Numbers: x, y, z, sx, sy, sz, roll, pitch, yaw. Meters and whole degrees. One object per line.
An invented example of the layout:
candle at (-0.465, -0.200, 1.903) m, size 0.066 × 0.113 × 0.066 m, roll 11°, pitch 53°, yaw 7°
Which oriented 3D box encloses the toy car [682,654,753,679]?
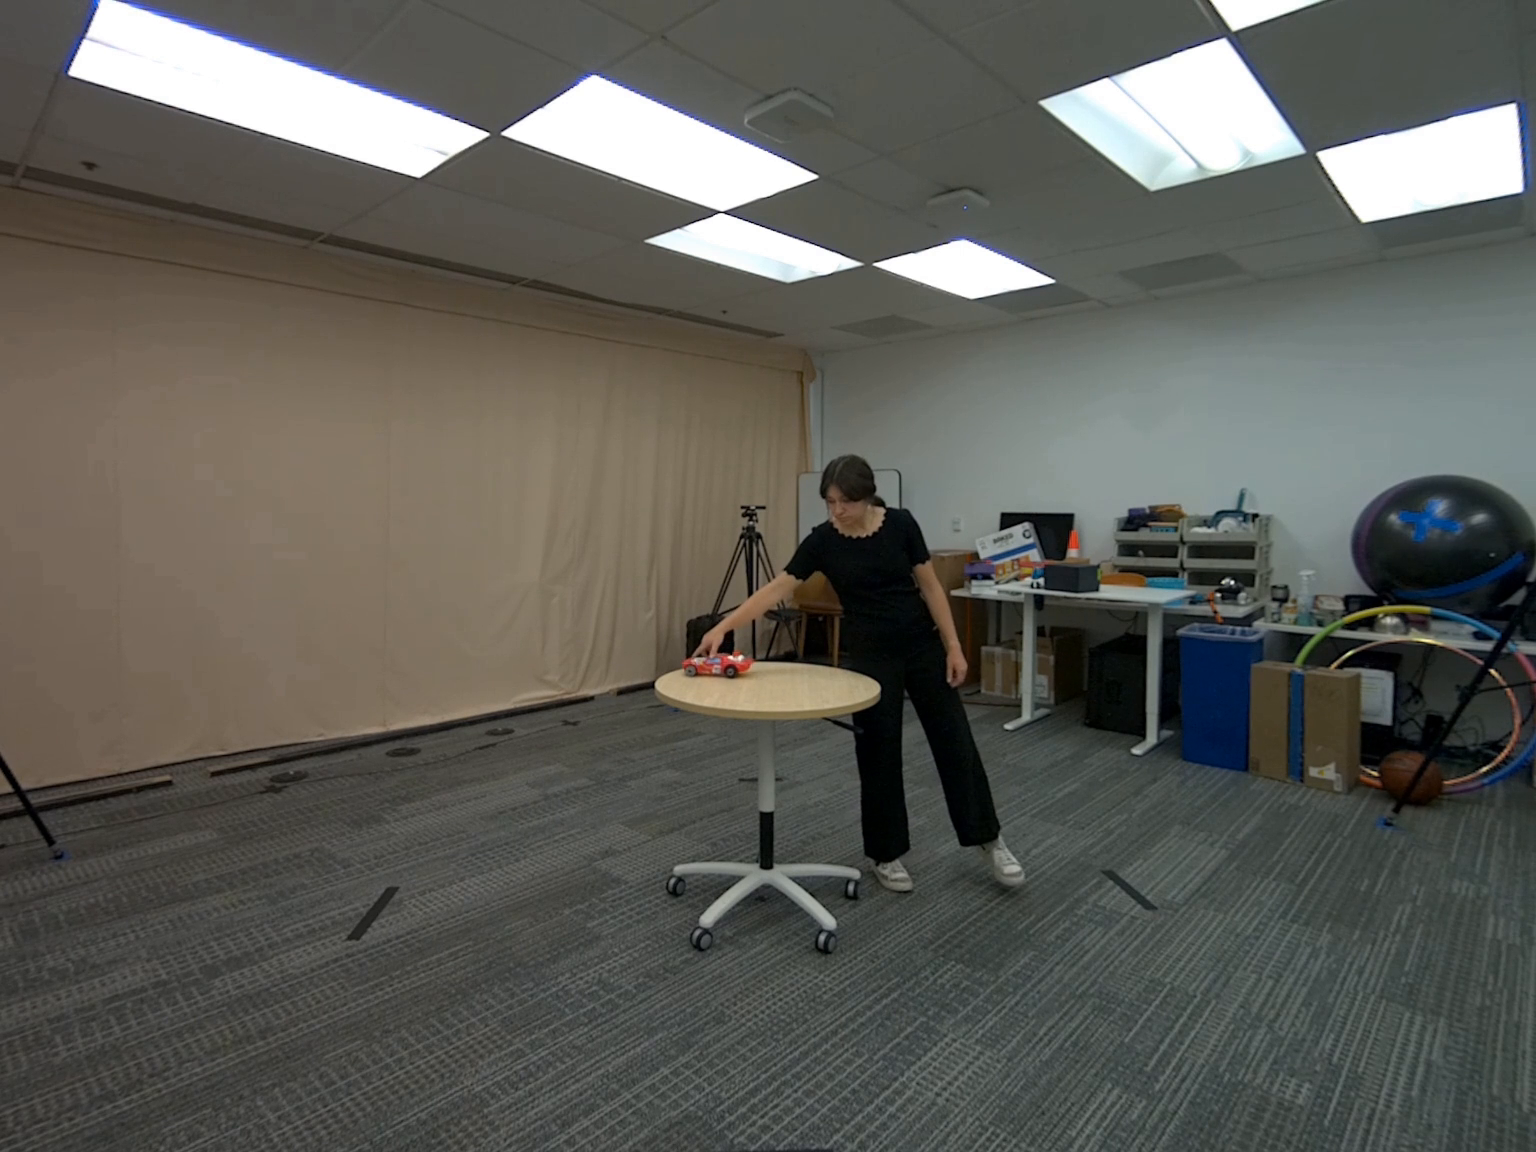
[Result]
toy car at (-0.172, 0.326, 3.012) m, size 0.257 × 0.083 × 0.129 m, roll -10°, pitch 1°, yaw 8°
